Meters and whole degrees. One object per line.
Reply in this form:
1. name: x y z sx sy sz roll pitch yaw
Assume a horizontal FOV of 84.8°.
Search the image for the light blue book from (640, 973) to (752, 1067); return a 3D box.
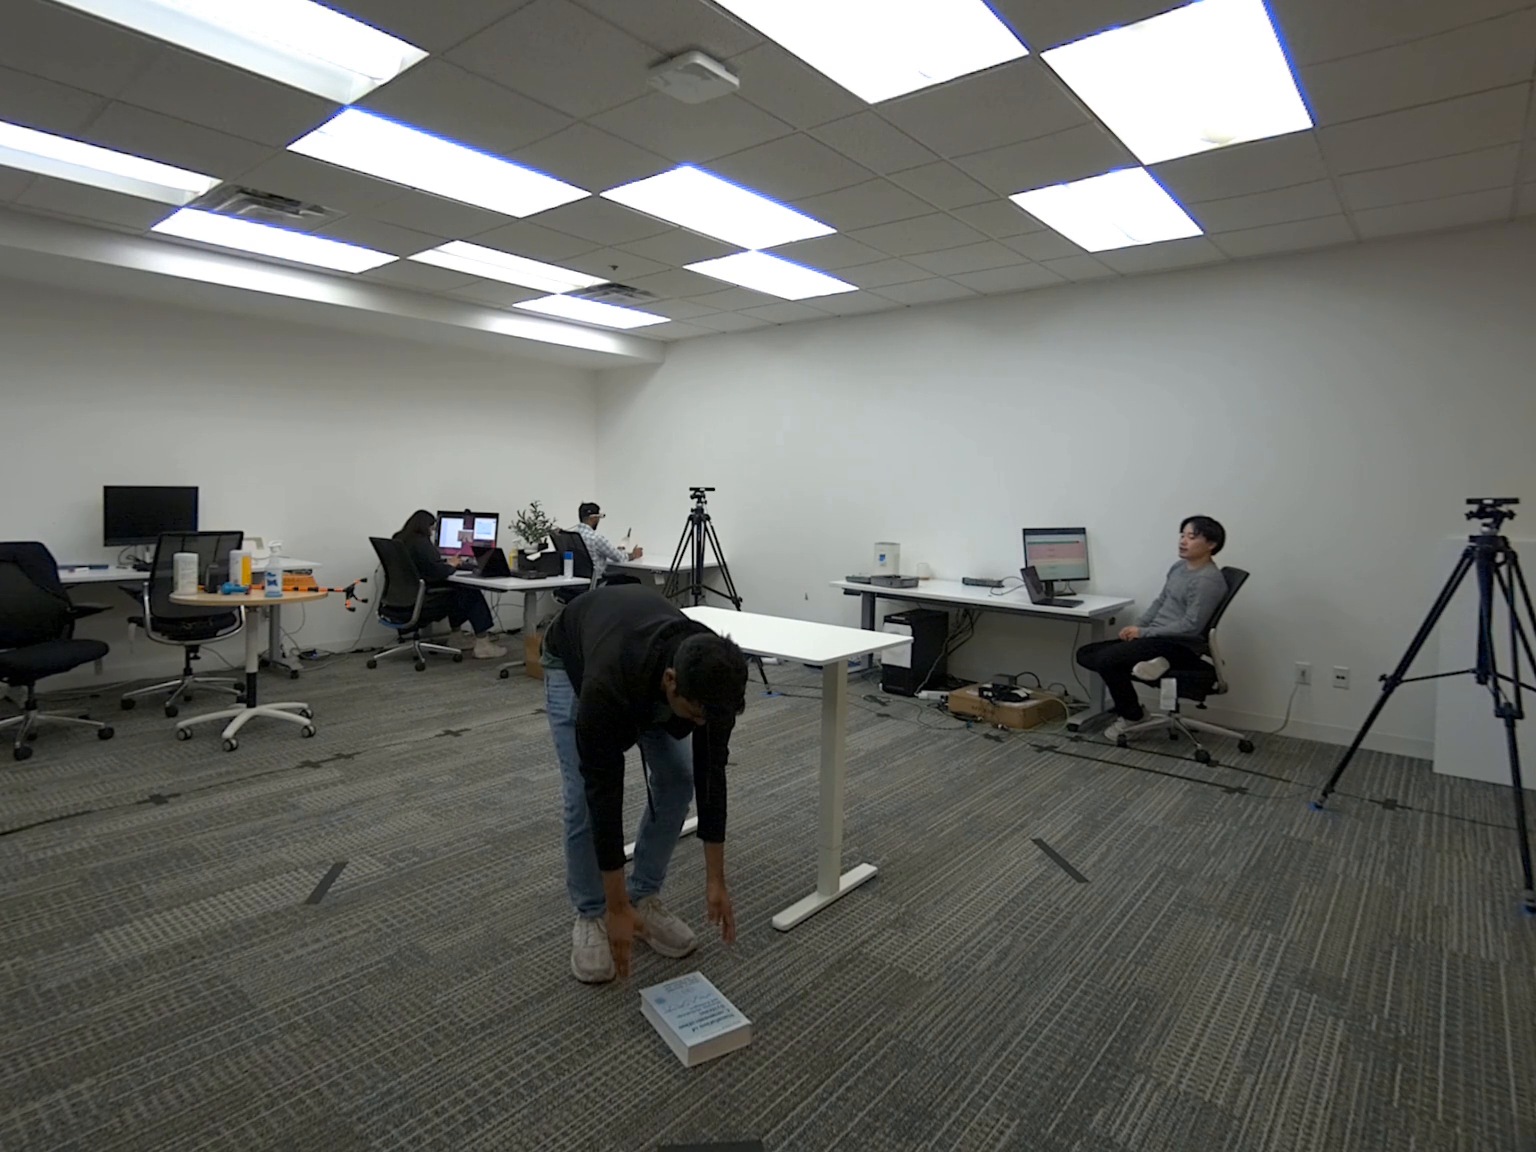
1. light blue book: -0.197 1.128 2.189 0.186 0.059 0.269 -3 7 -34
